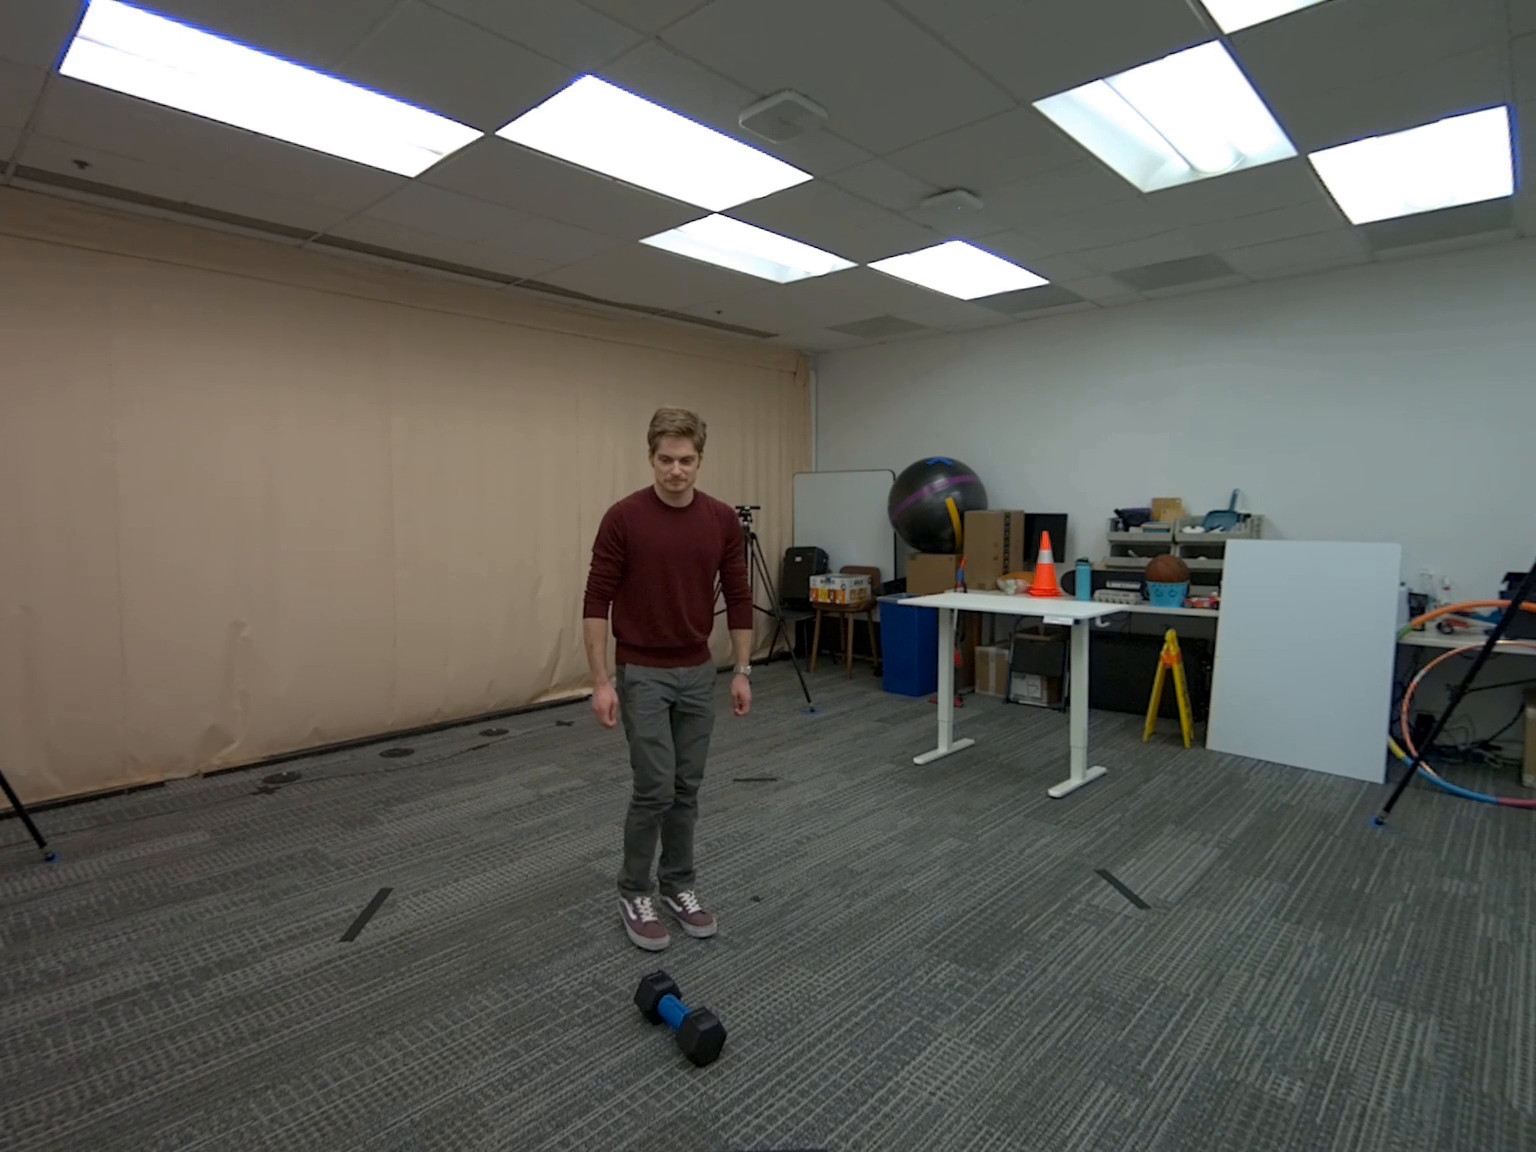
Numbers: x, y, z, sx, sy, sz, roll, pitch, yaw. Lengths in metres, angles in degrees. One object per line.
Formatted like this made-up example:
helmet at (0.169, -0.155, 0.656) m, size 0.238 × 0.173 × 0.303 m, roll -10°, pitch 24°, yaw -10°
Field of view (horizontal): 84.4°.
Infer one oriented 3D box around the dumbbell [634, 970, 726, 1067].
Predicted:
dumbbell at (-0.234, 1.160, 2.202) m, size 0.105 × 0.123 × 0.303 m, roll 34°, pitch -17°, yaw -35°
